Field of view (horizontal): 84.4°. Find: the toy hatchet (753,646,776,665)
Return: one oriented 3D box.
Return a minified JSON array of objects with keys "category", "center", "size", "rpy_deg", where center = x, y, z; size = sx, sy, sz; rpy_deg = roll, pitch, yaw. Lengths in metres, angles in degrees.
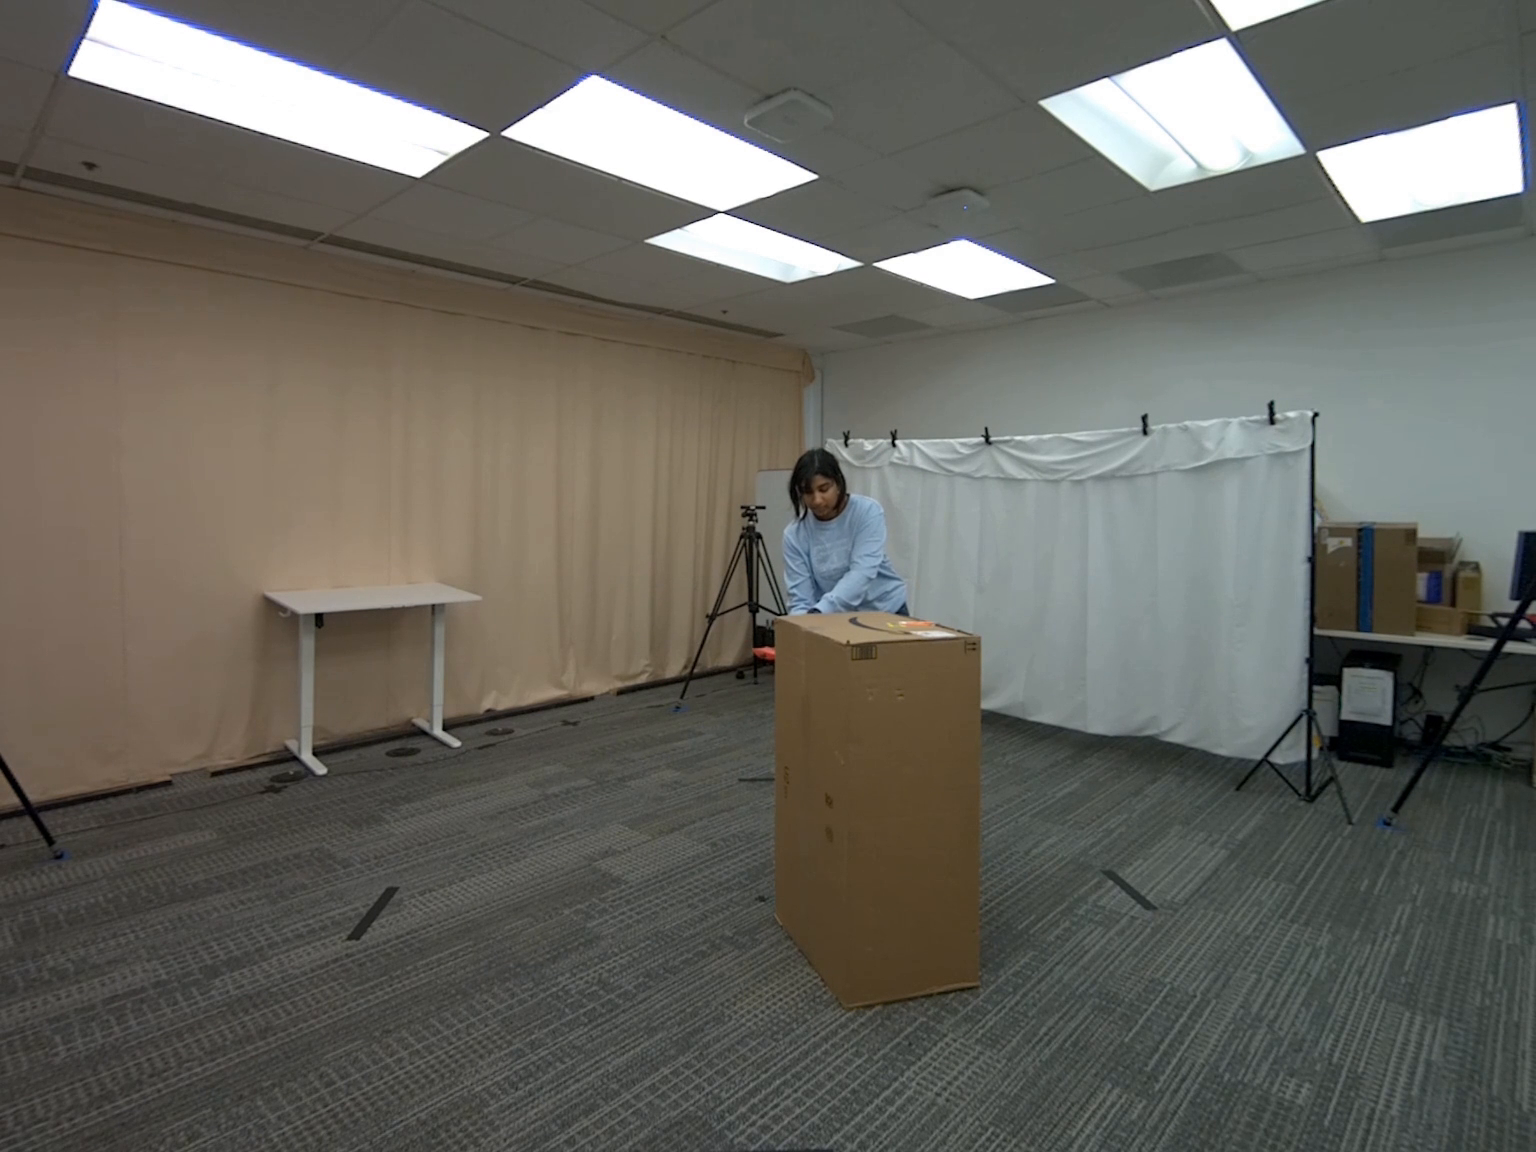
[{"category":"toy hatchet","center":[0.104,0.250,2.937],"size":[0.265,0.029,0.134],"rpy_deg":[-6,11,-18]}]
